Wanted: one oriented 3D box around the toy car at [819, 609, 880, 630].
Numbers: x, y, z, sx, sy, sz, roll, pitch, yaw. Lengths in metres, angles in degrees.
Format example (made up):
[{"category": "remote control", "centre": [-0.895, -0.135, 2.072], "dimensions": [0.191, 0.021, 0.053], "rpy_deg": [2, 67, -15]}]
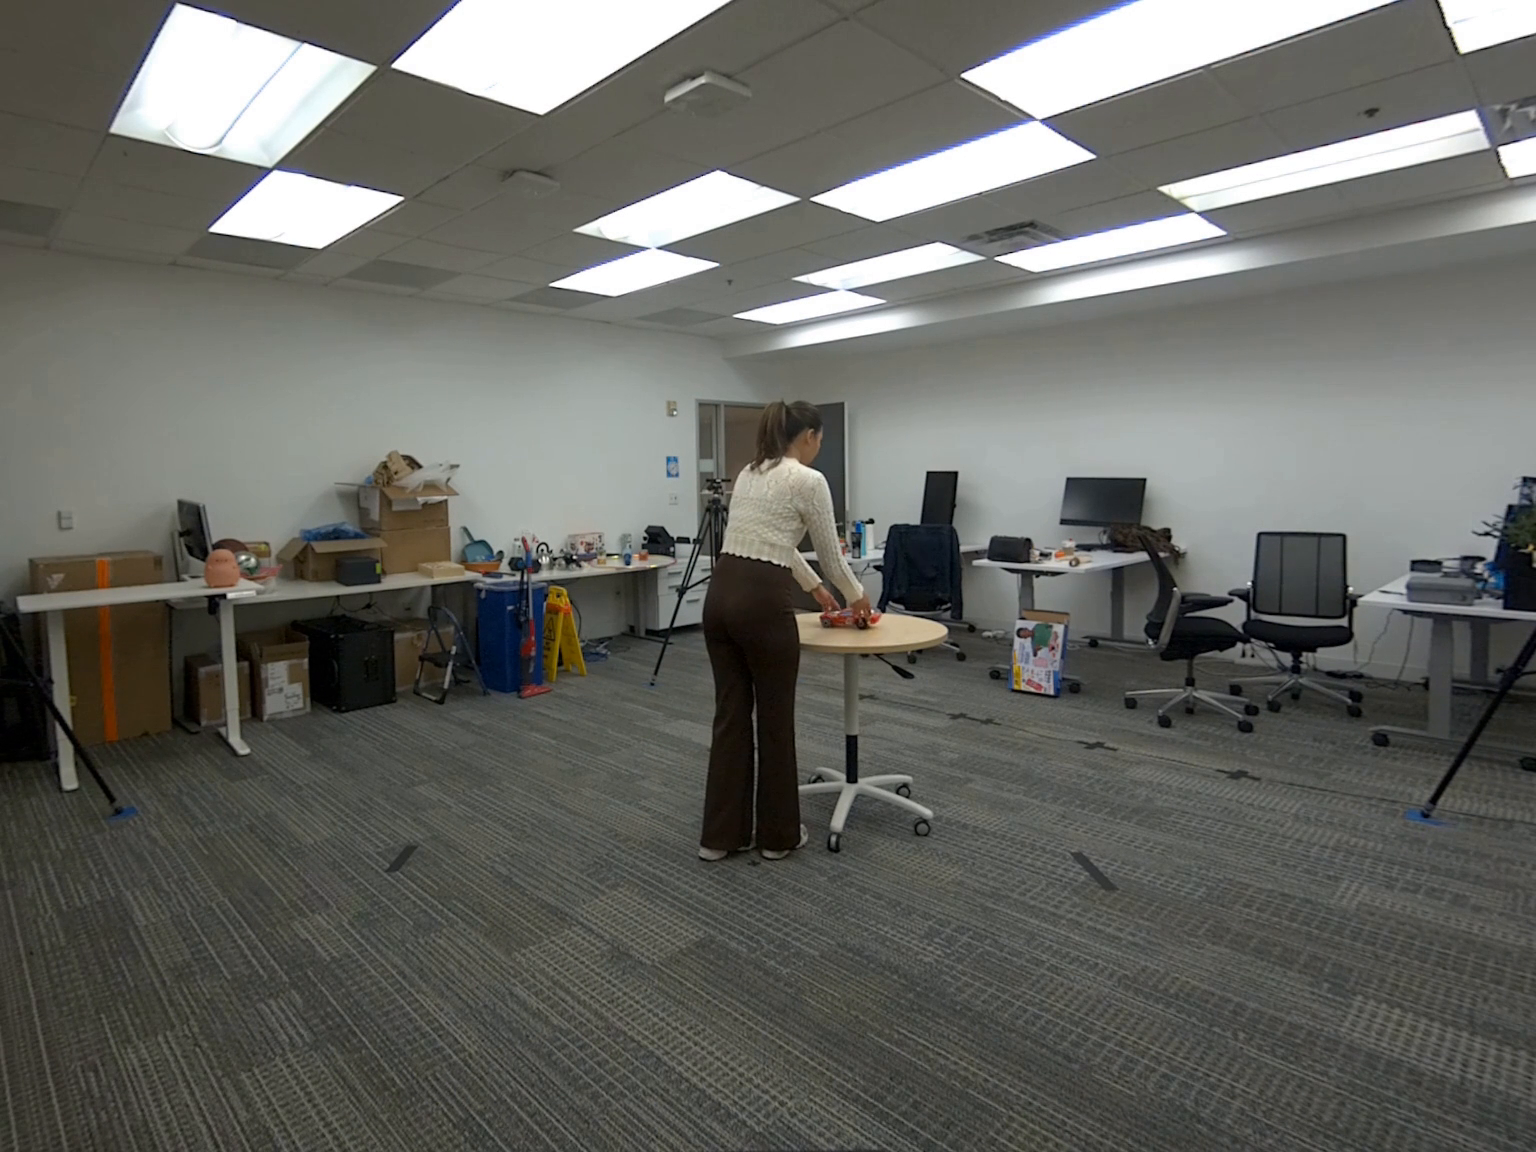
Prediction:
[{"category": "toy car", "centre": [0.344, 0.177, 3.500], "dimensions": [0.259, 0.083, 0.128], "rpy_deg": [-9, 3, 21]}]
